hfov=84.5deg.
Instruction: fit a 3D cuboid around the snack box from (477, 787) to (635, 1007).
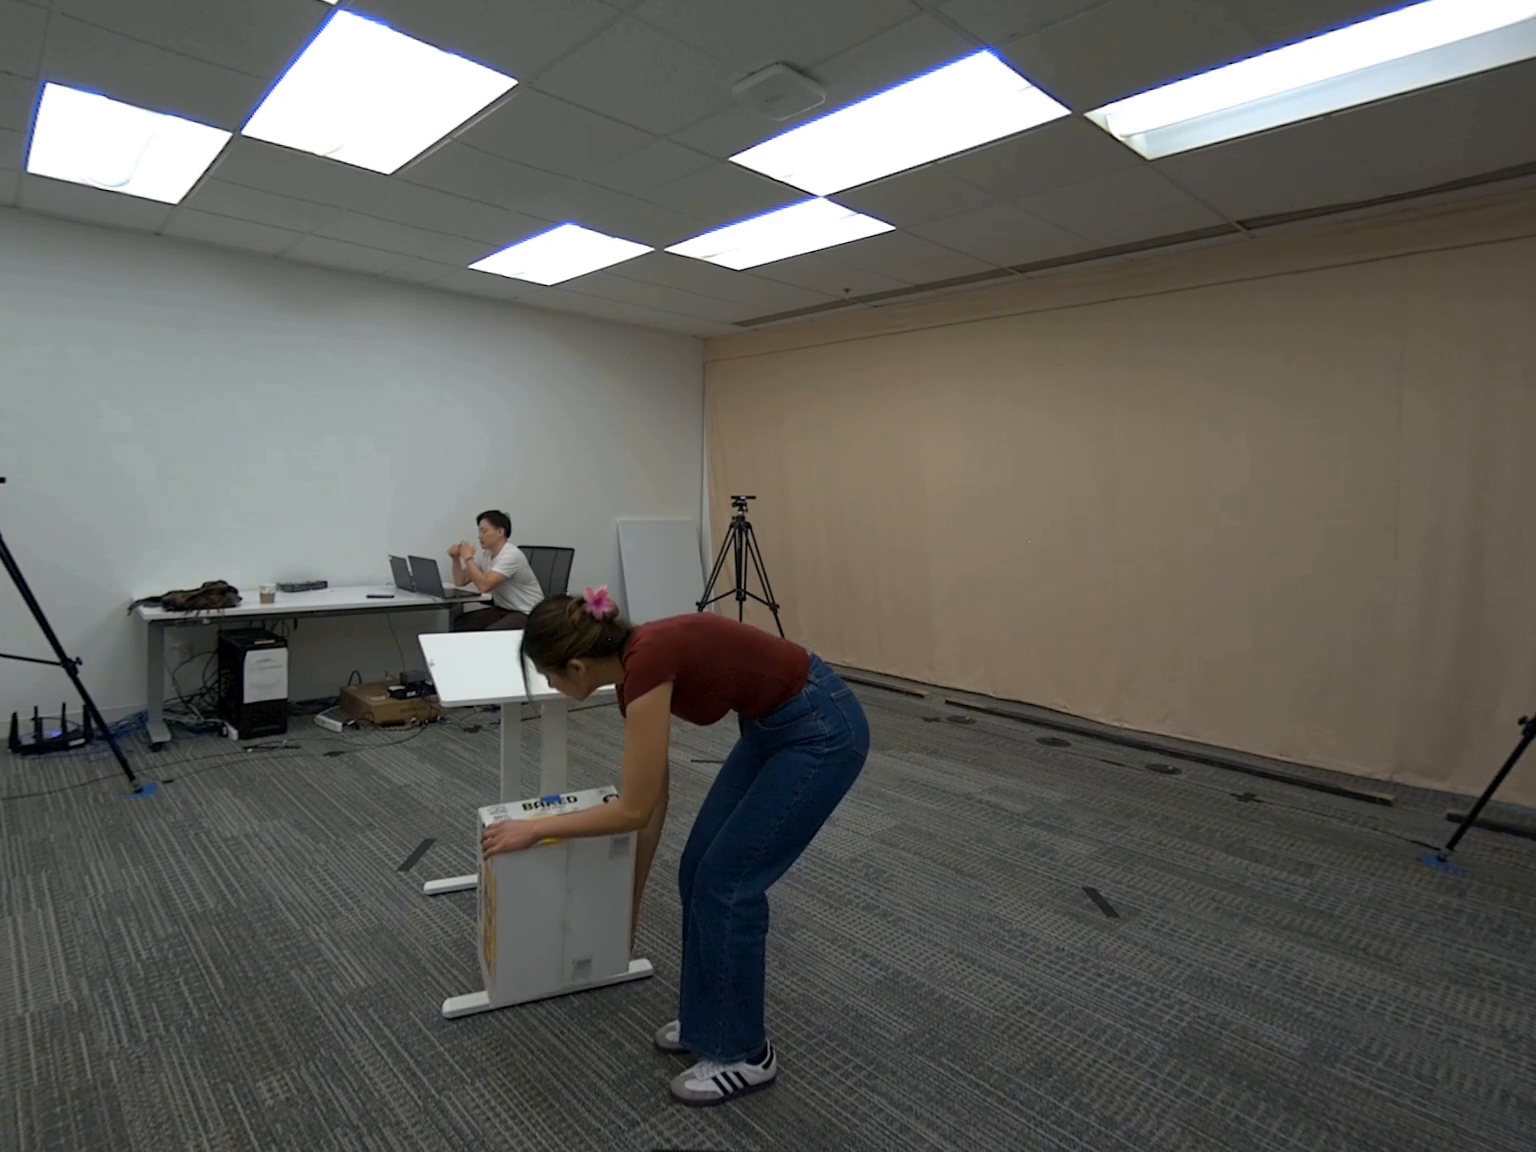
[{"bbox_3d":[-0.522,0.760,2.058,0.334,0.401,0.211,-2,15,-24],"label":"snack box"}]
